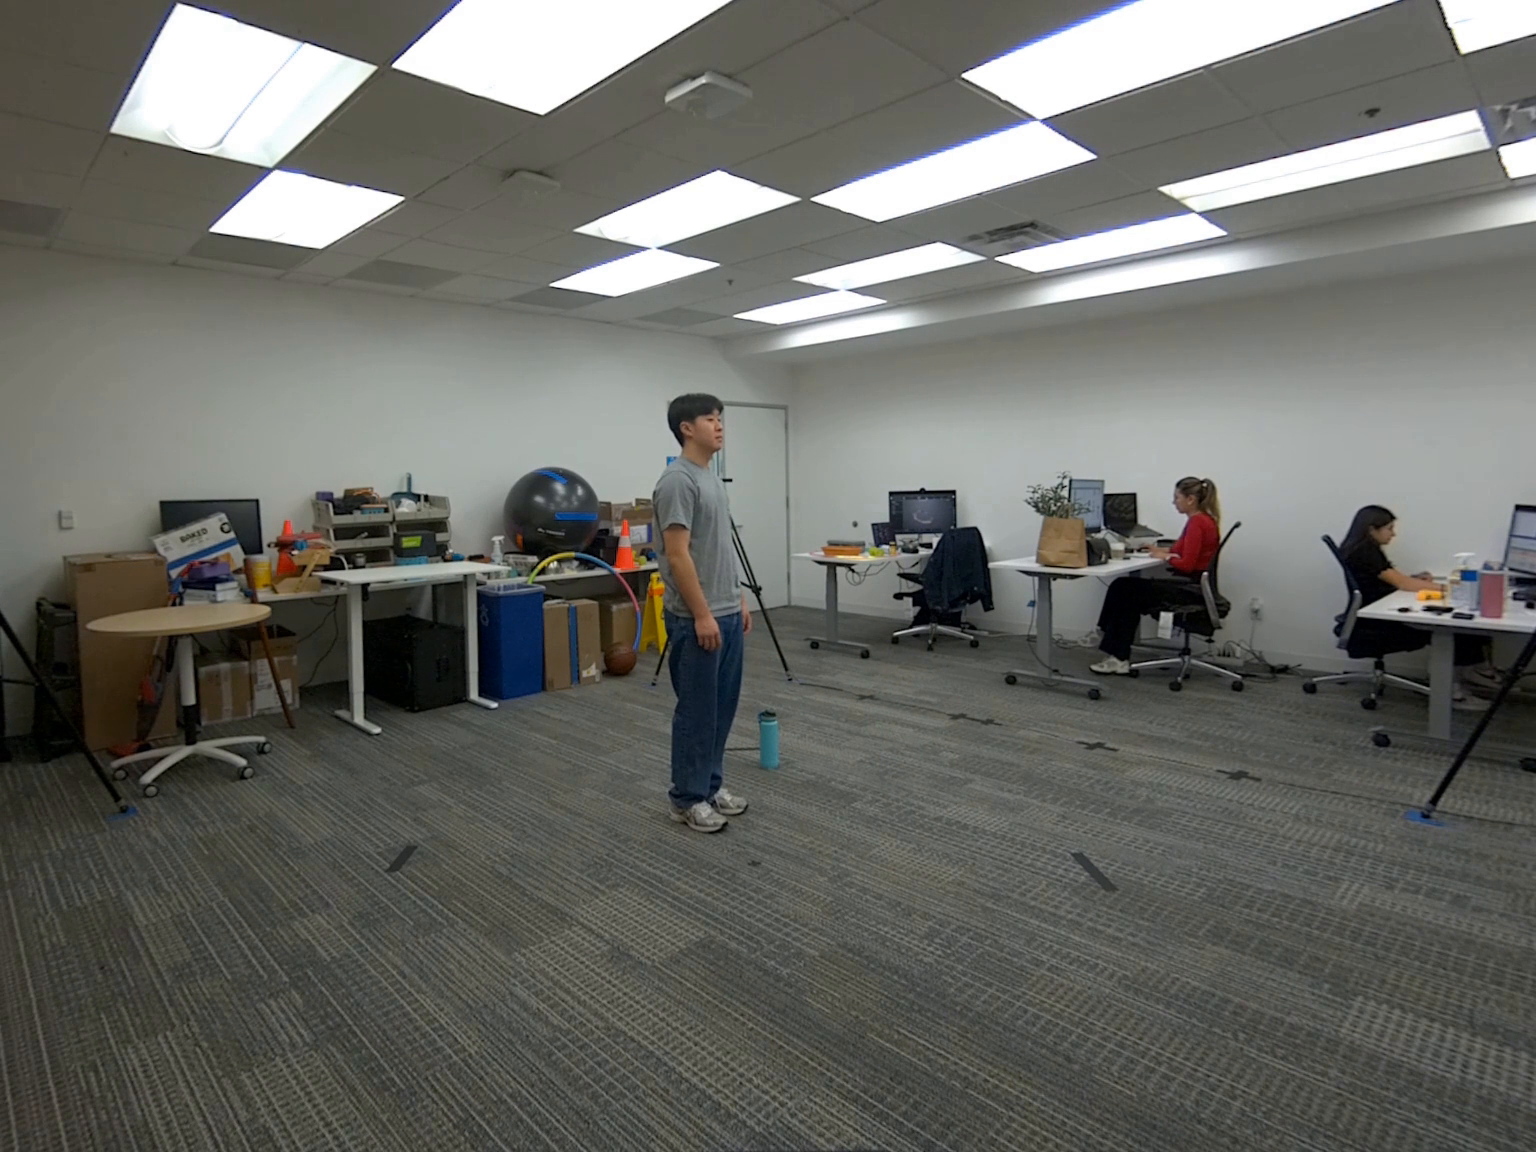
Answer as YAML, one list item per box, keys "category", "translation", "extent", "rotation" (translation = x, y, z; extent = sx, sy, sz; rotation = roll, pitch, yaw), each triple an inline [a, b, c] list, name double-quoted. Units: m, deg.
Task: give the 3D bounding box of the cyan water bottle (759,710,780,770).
- category: "cyan water bottle"
  translation: [0.004, 0.786, 4.160]
  extent: [0.092, 0.282, 0.093]
  rotation: [-3, 5, -1]
